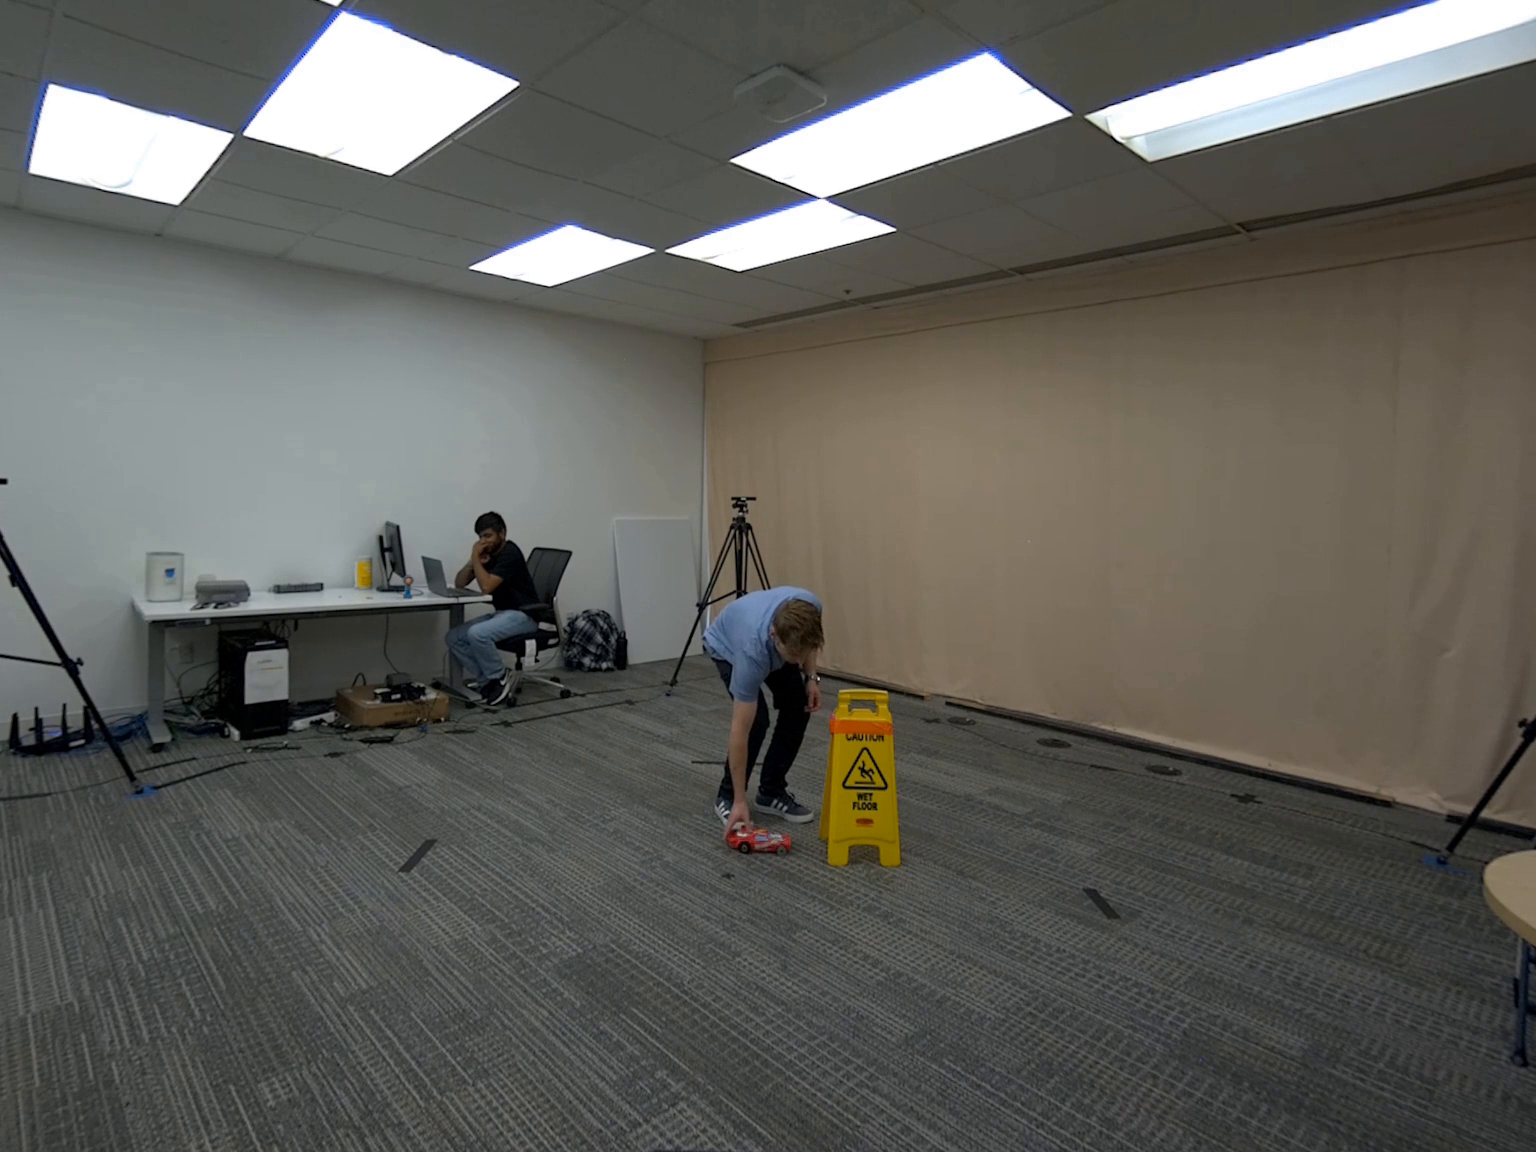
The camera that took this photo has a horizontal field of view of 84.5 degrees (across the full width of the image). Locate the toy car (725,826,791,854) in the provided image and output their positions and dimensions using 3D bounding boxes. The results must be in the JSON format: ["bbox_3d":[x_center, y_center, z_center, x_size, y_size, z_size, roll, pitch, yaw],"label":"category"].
[{"bbox_3d":[-0.031,1.052,3.371,0.255,0.083,0.130,13,0,0],"label":"toy car"}]
